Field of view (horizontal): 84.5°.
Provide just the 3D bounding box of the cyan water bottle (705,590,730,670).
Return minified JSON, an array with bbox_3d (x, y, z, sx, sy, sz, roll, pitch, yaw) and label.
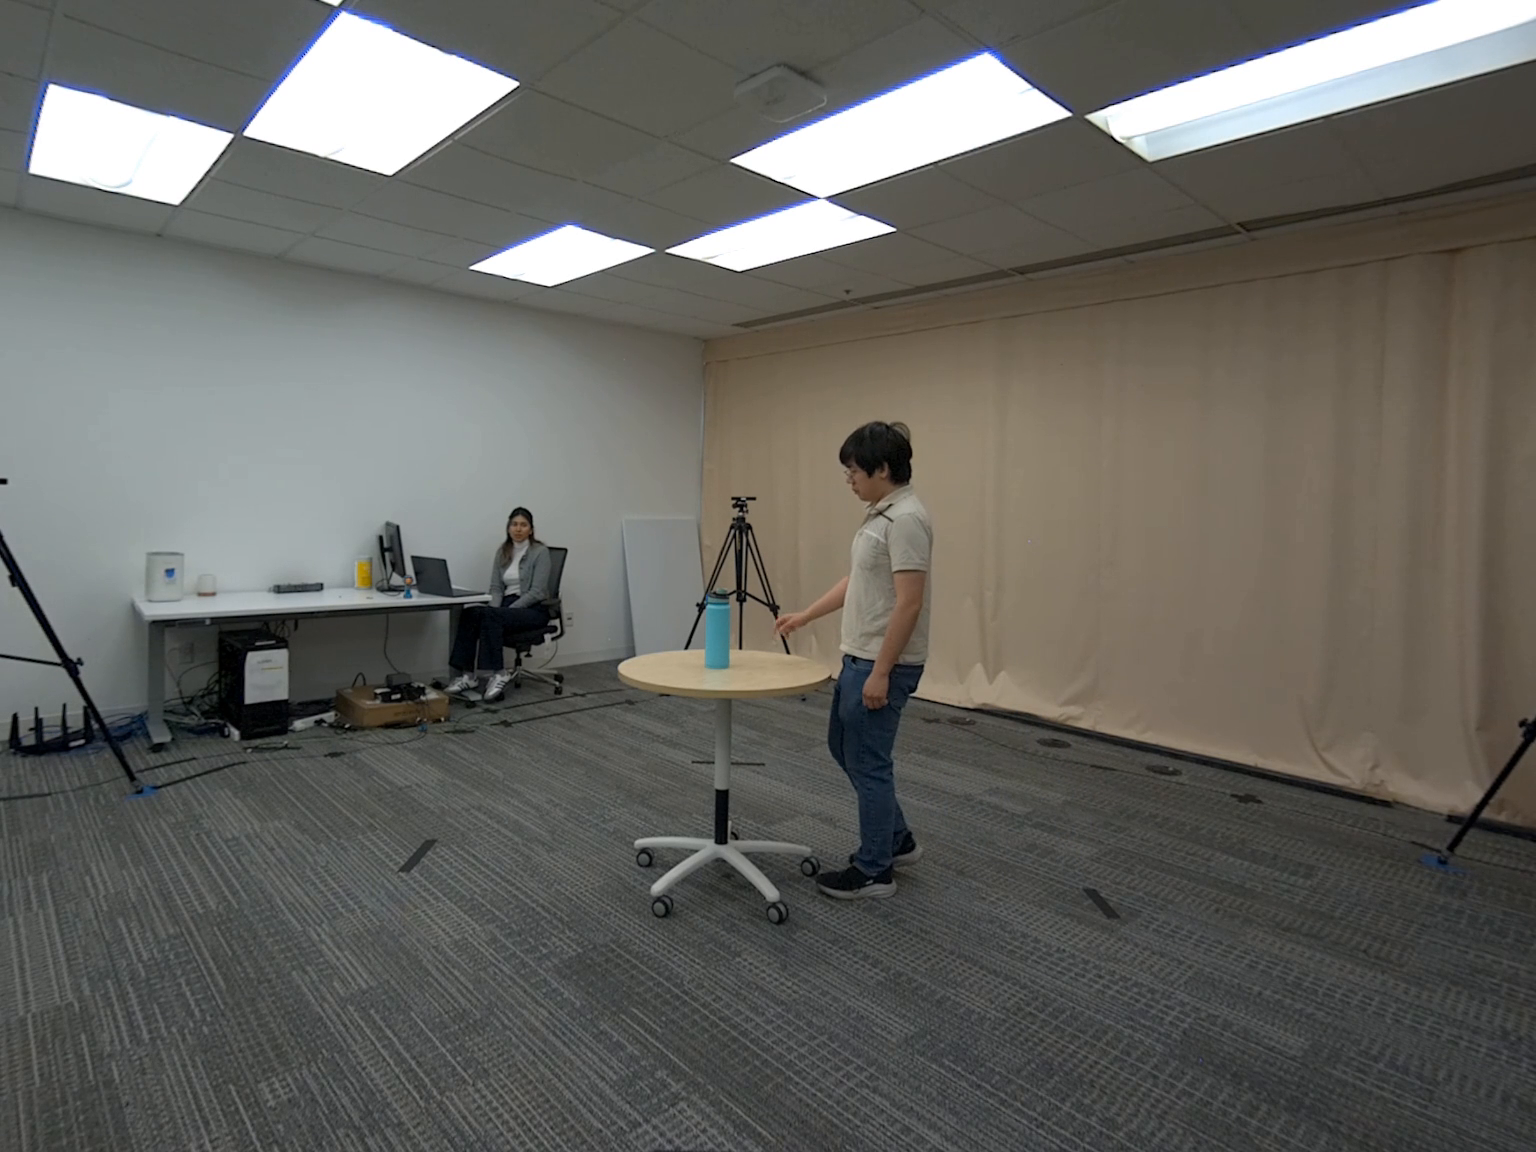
[{"bbox_3d":[-0.182,0.188,3.039,0.092,0.283,0.092,2,1,-1],"label":"cyan water bottle"}]
